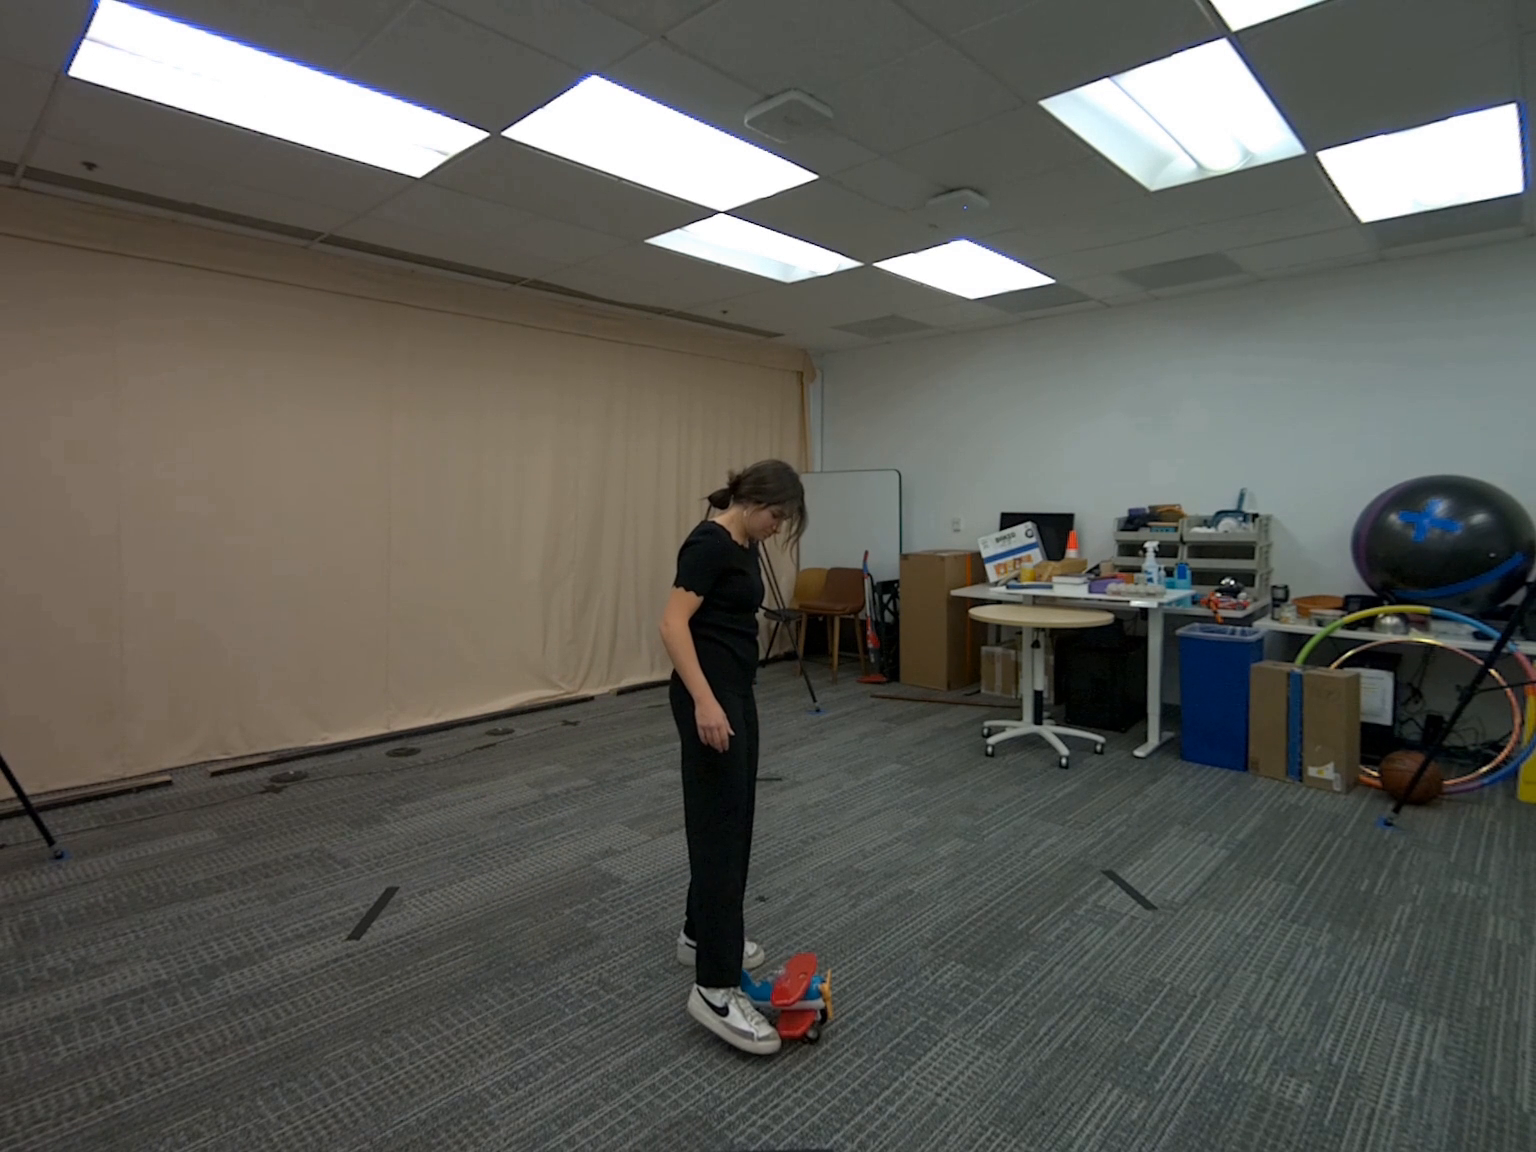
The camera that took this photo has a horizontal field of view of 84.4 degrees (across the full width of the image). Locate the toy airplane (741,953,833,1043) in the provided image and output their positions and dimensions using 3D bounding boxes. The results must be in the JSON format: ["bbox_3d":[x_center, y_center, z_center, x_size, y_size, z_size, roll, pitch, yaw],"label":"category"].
[{"bbox_3d":[0.046,1.135,2.222,0.256,0.156,0.254,0,3,-12],"label":"toy airplane"}]
